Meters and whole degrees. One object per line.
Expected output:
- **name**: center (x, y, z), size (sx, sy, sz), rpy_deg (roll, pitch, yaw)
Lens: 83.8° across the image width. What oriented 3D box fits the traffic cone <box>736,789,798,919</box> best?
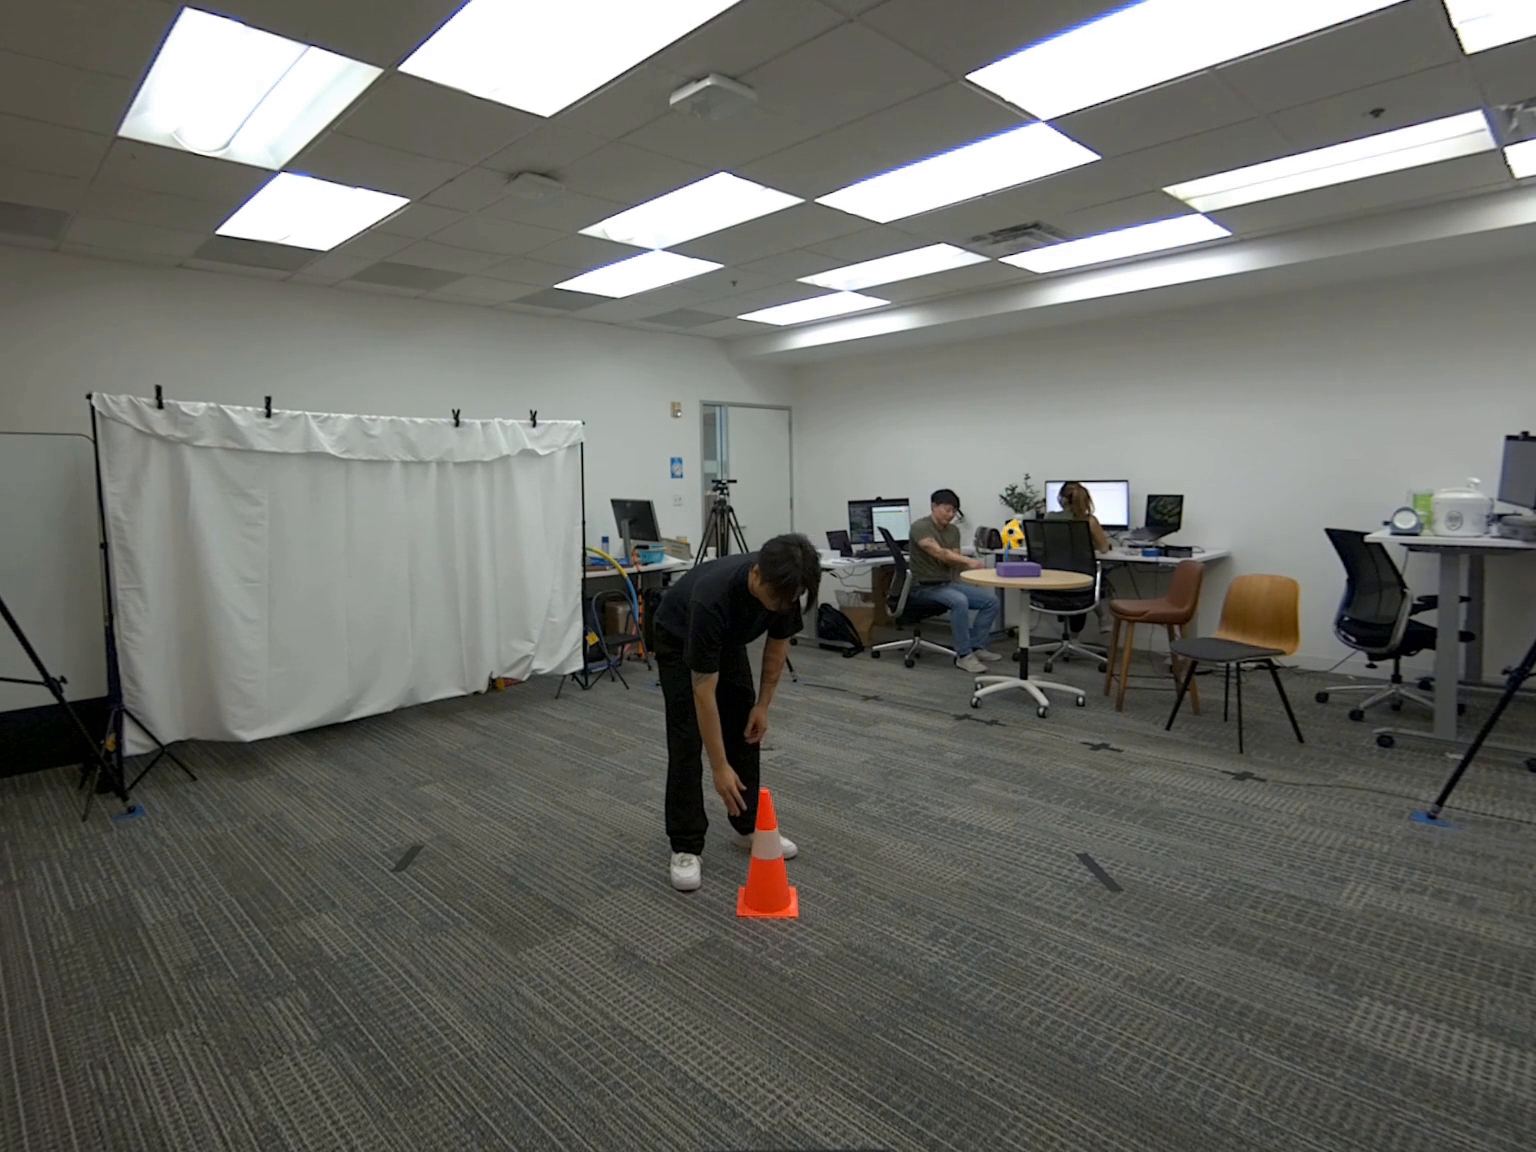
- **traffic cone**: center (0.006, 0.892, 2.814), size (0.206, 0.382, 0.203), rpy_deg (1, 6, 3)
